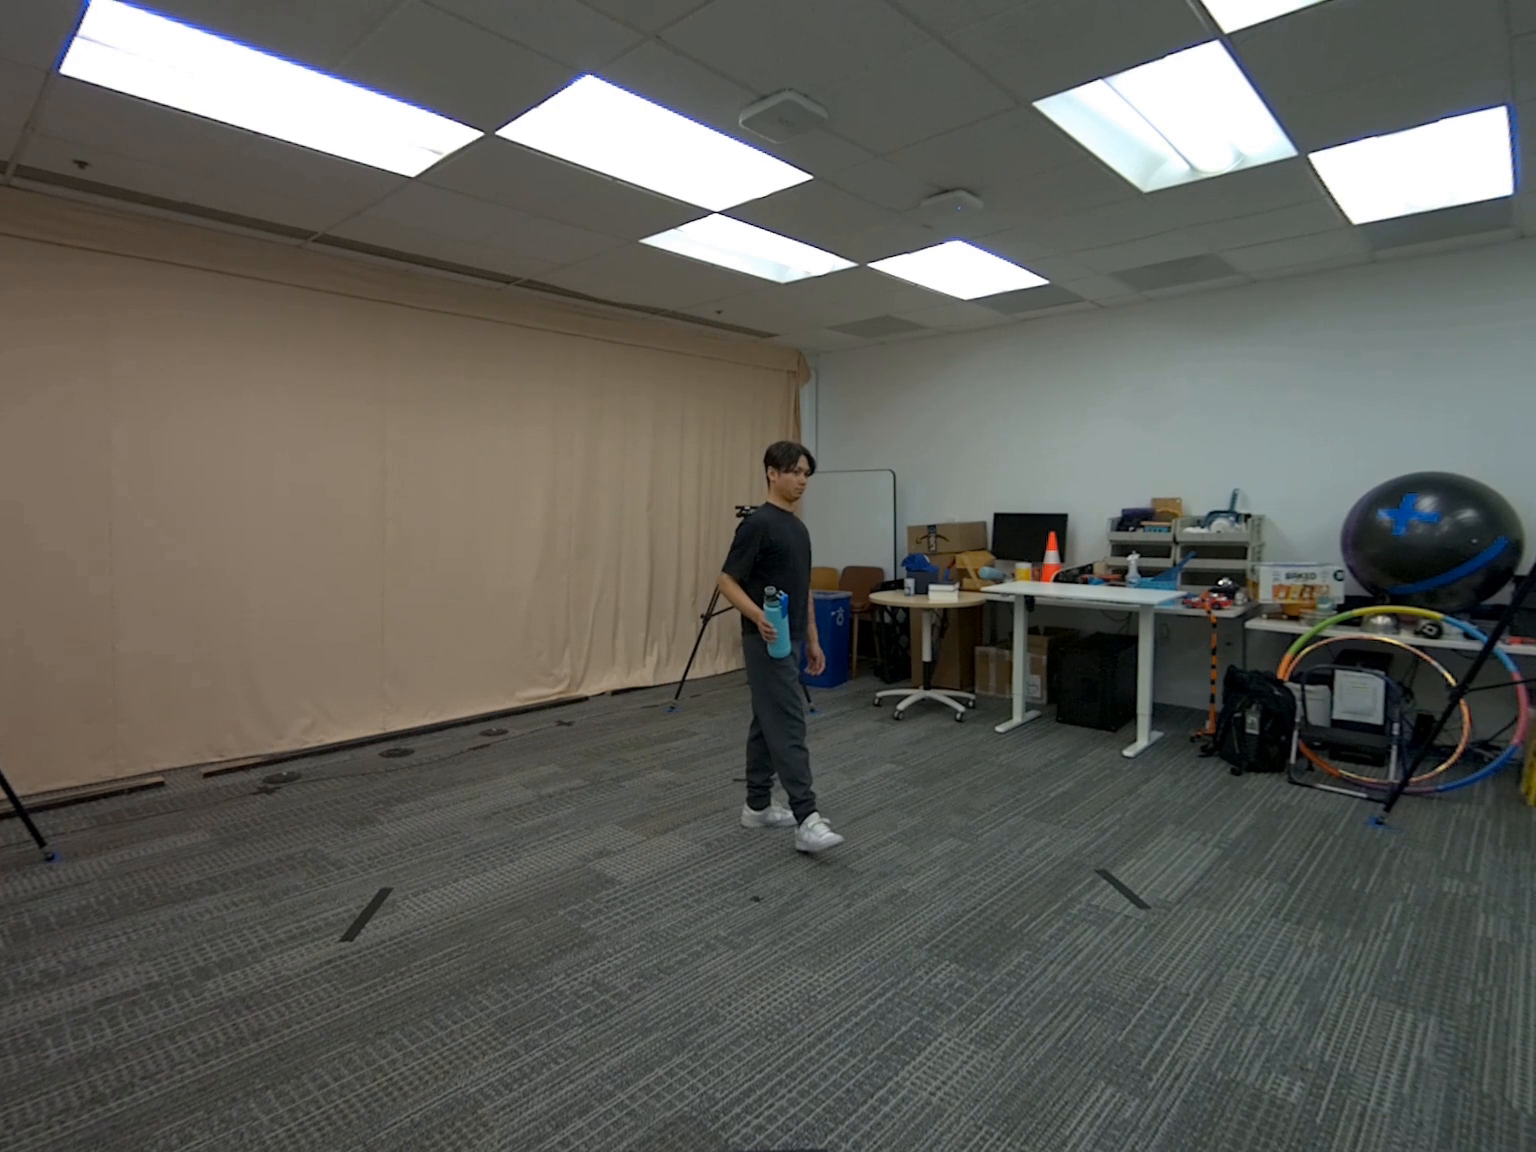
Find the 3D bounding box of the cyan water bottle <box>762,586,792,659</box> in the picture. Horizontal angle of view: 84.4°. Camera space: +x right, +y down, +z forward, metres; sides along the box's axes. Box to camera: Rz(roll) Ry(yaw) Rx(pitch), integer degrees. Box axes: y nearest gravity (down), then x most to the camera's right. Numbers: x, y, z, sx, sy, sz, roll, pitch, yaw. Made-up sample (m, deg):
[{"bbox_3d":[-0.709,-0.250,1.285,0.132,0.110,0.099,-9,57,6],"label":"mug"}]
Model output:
[{"bbox_3d":[0.055,0.177,3.248,0.092,0.279,0.094,-1,28,-1],"label":"cyan water bottle"}]
